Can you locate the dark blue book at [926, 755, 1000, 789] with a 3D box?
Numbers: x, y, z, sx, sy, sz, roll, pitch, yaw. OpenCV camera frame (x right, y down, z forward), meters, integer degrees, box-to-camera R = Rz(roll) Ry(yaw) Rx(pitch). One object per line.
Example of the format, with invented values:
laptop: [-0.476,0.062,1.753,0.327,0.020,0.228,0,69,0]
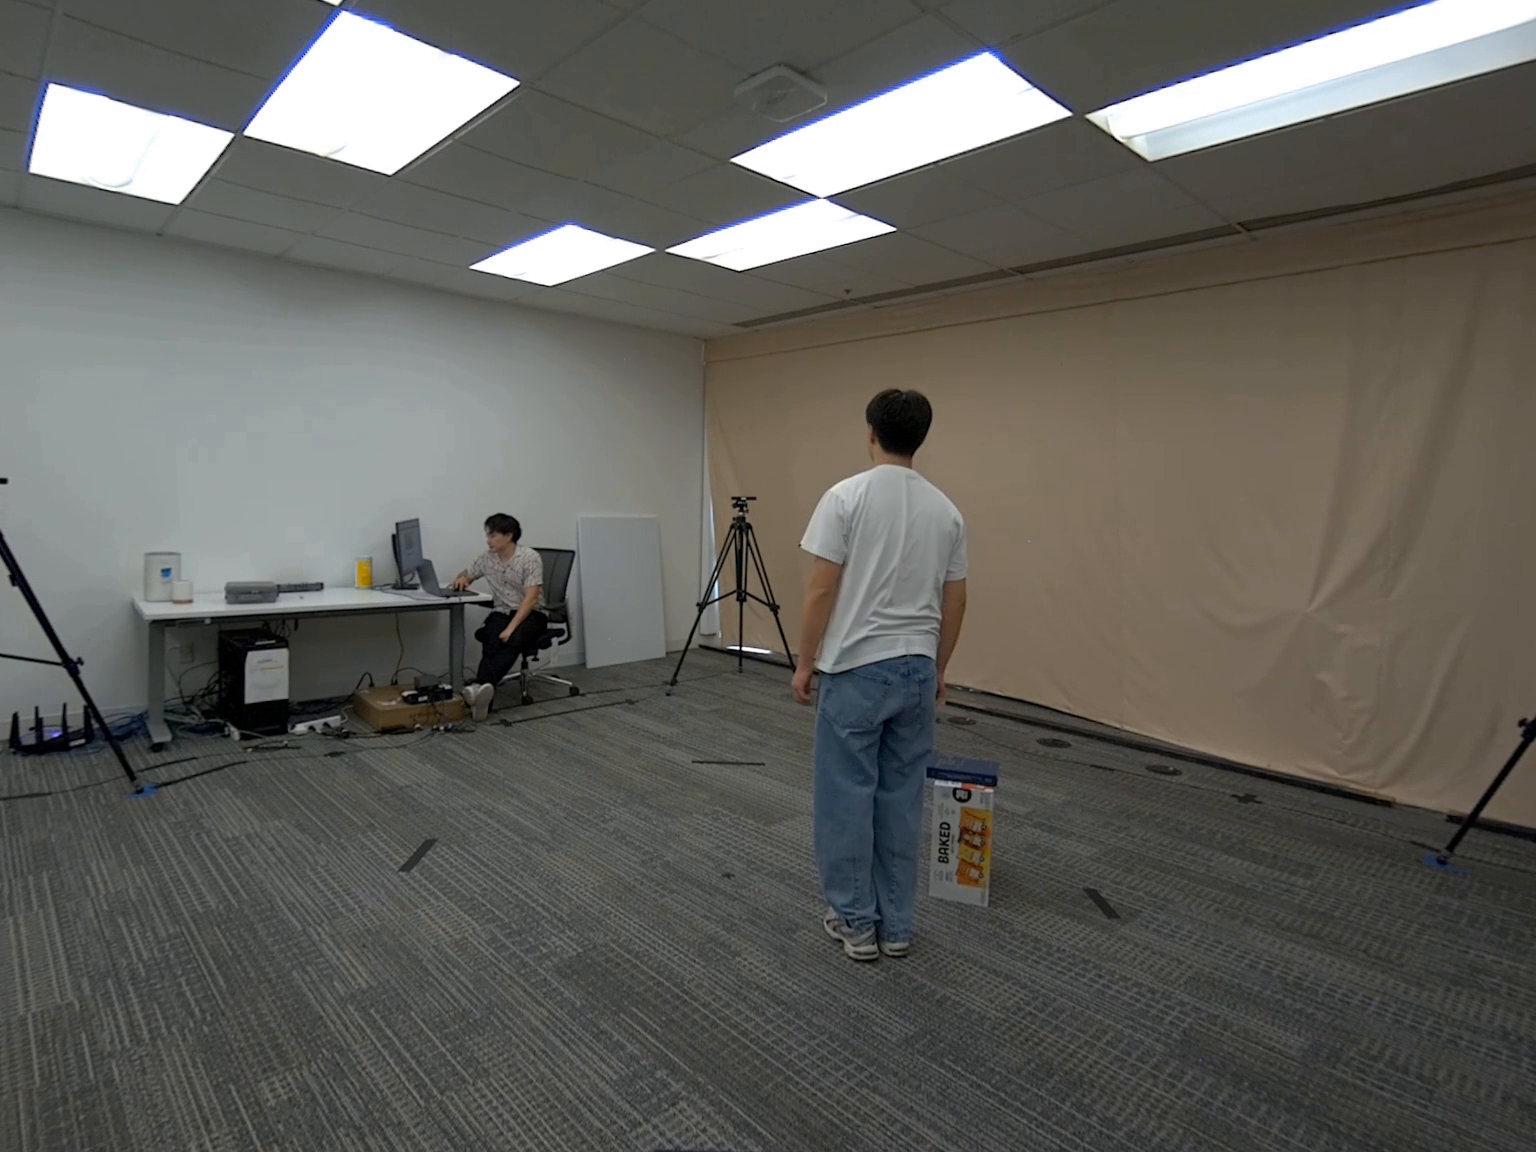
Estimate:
dark blue book: [0.704,0.705,3.062,0.249,0.045,0.161,3,5,19]
